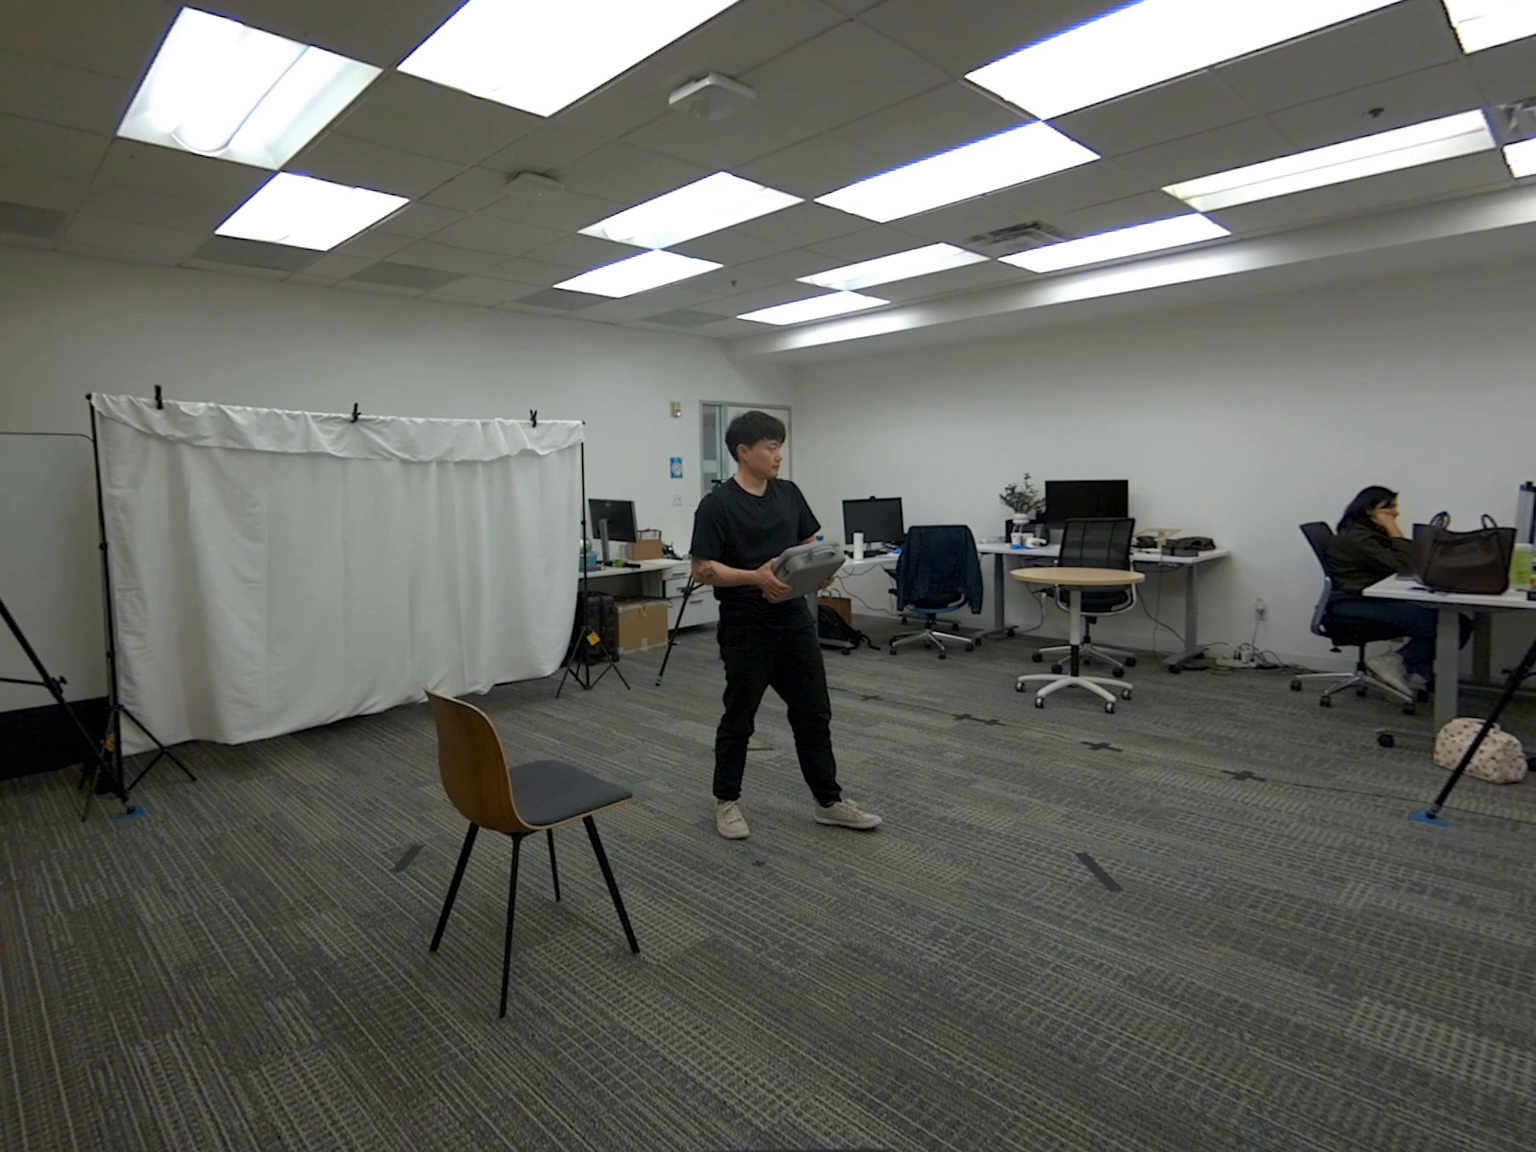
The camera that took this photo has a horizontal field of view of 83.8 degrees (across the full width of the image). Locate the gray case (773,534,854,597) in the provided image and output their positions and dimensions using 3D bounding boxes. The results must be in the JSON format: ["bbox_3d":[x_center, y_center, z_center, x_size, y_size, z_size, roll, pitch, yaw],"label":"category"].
[{"bbox_3d":[0.125,-0.028,3.150,0.251,0.106,0.261,-12,-20,-39],"label":"gray case"}]
